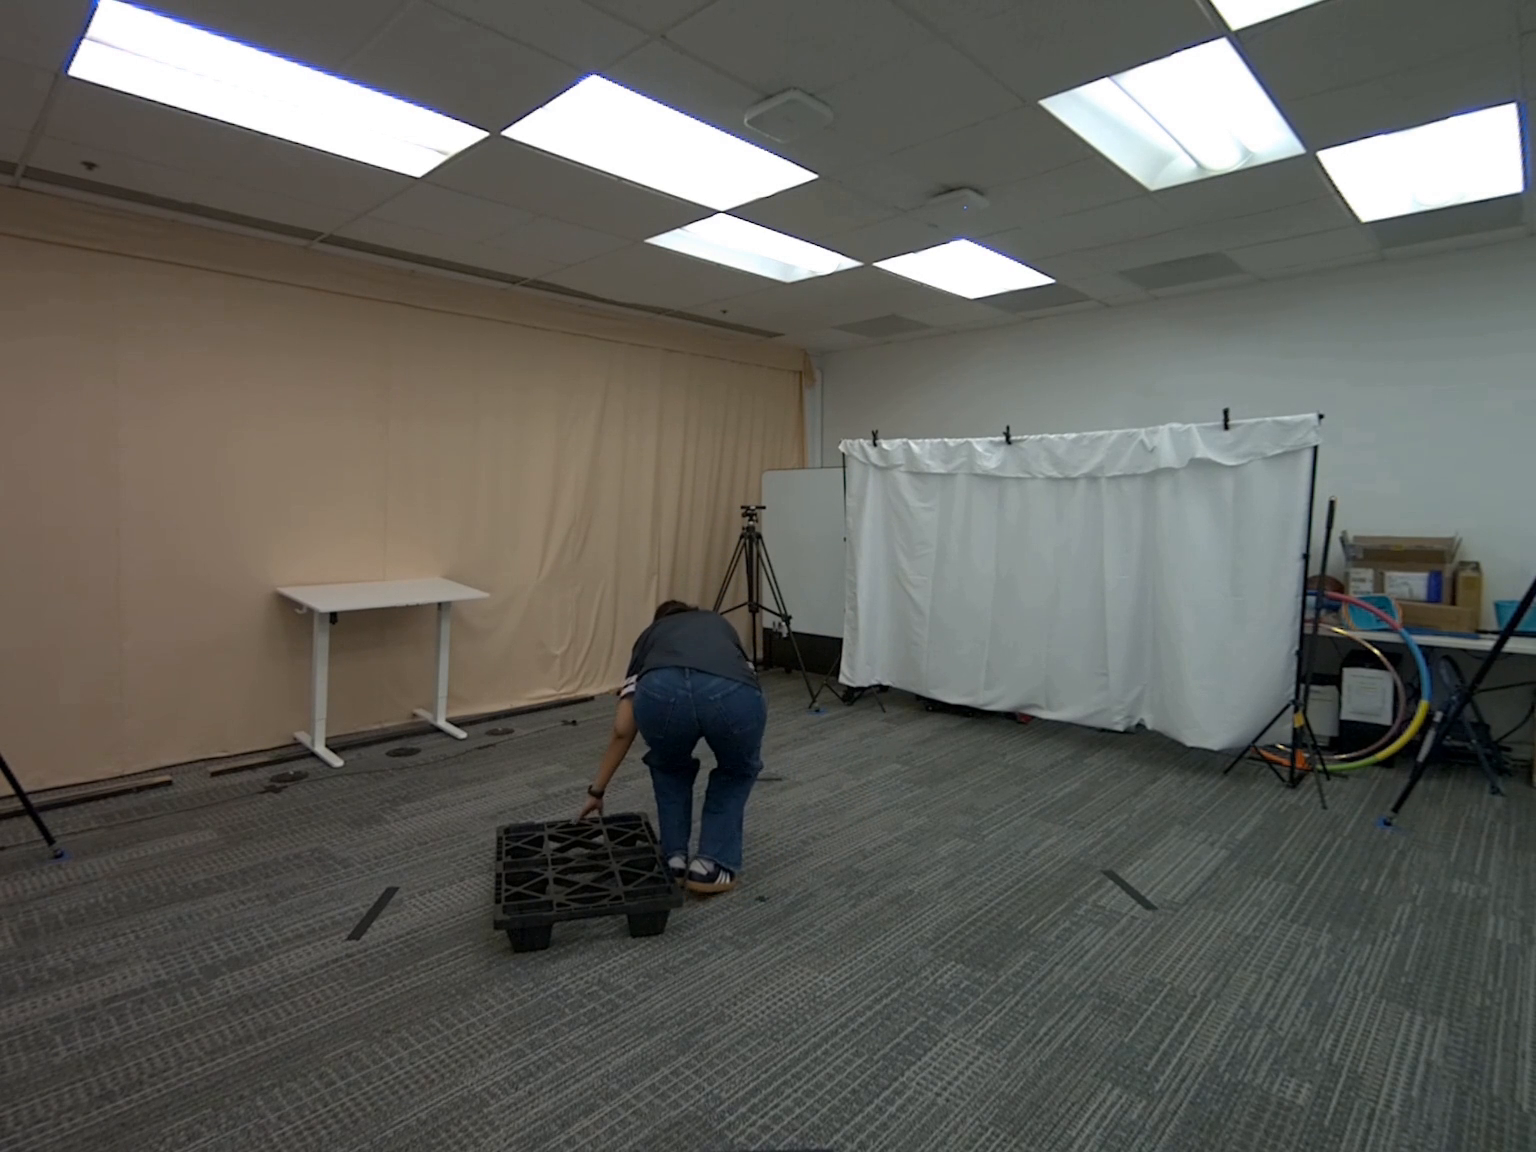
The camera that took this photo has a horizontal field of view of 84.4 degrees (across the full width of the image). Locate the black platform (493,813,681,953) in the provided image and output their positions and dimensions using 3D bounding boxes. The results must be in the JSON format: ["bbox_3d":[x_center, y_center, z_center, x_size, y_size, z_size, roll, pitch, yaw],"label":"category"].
[{"bbox_3d":[-0.678,1.081,3.034,0.596,0.143,0.820,-1,5,-15],"label":"black platform"}]
